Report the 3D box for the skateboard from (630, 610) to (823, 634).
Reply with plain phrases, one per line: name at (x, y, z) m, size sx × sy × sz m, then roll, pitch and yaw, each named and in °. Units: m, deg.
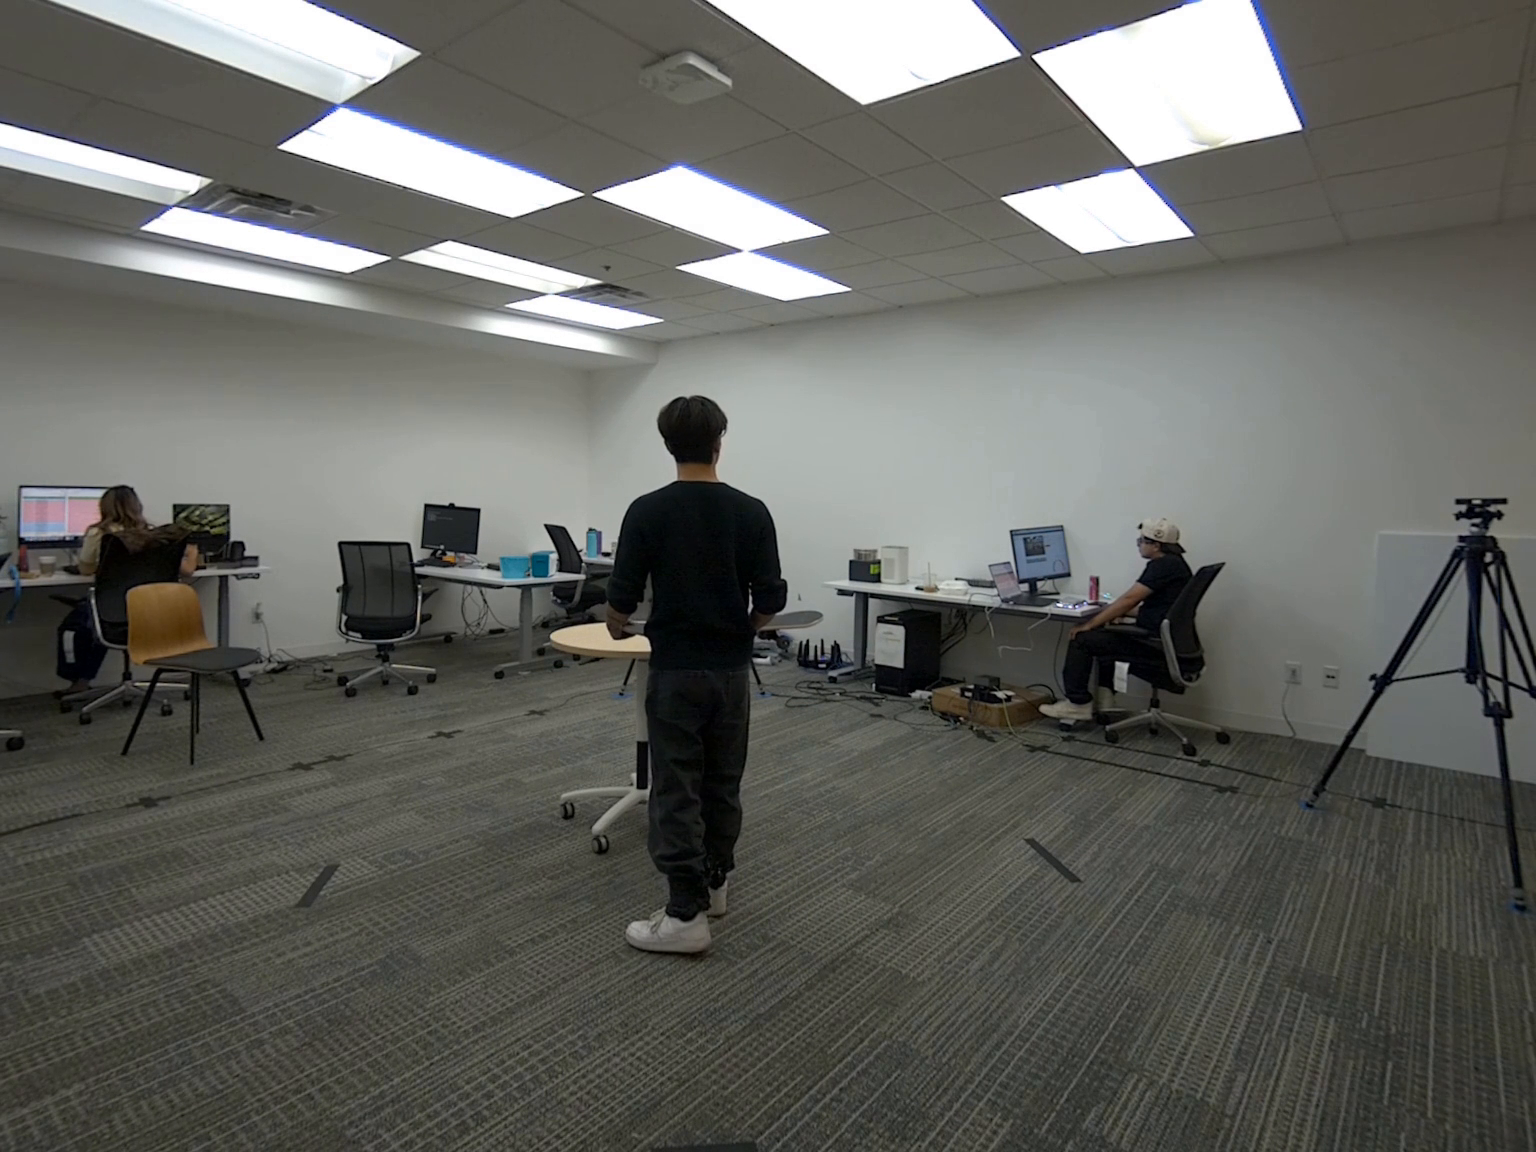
skateboard at (-0.159, 0.210, 3.039) m, size 0.768 × 0.109 × 0.199 m, roll -3°, pitch 11°, yaw -24°
